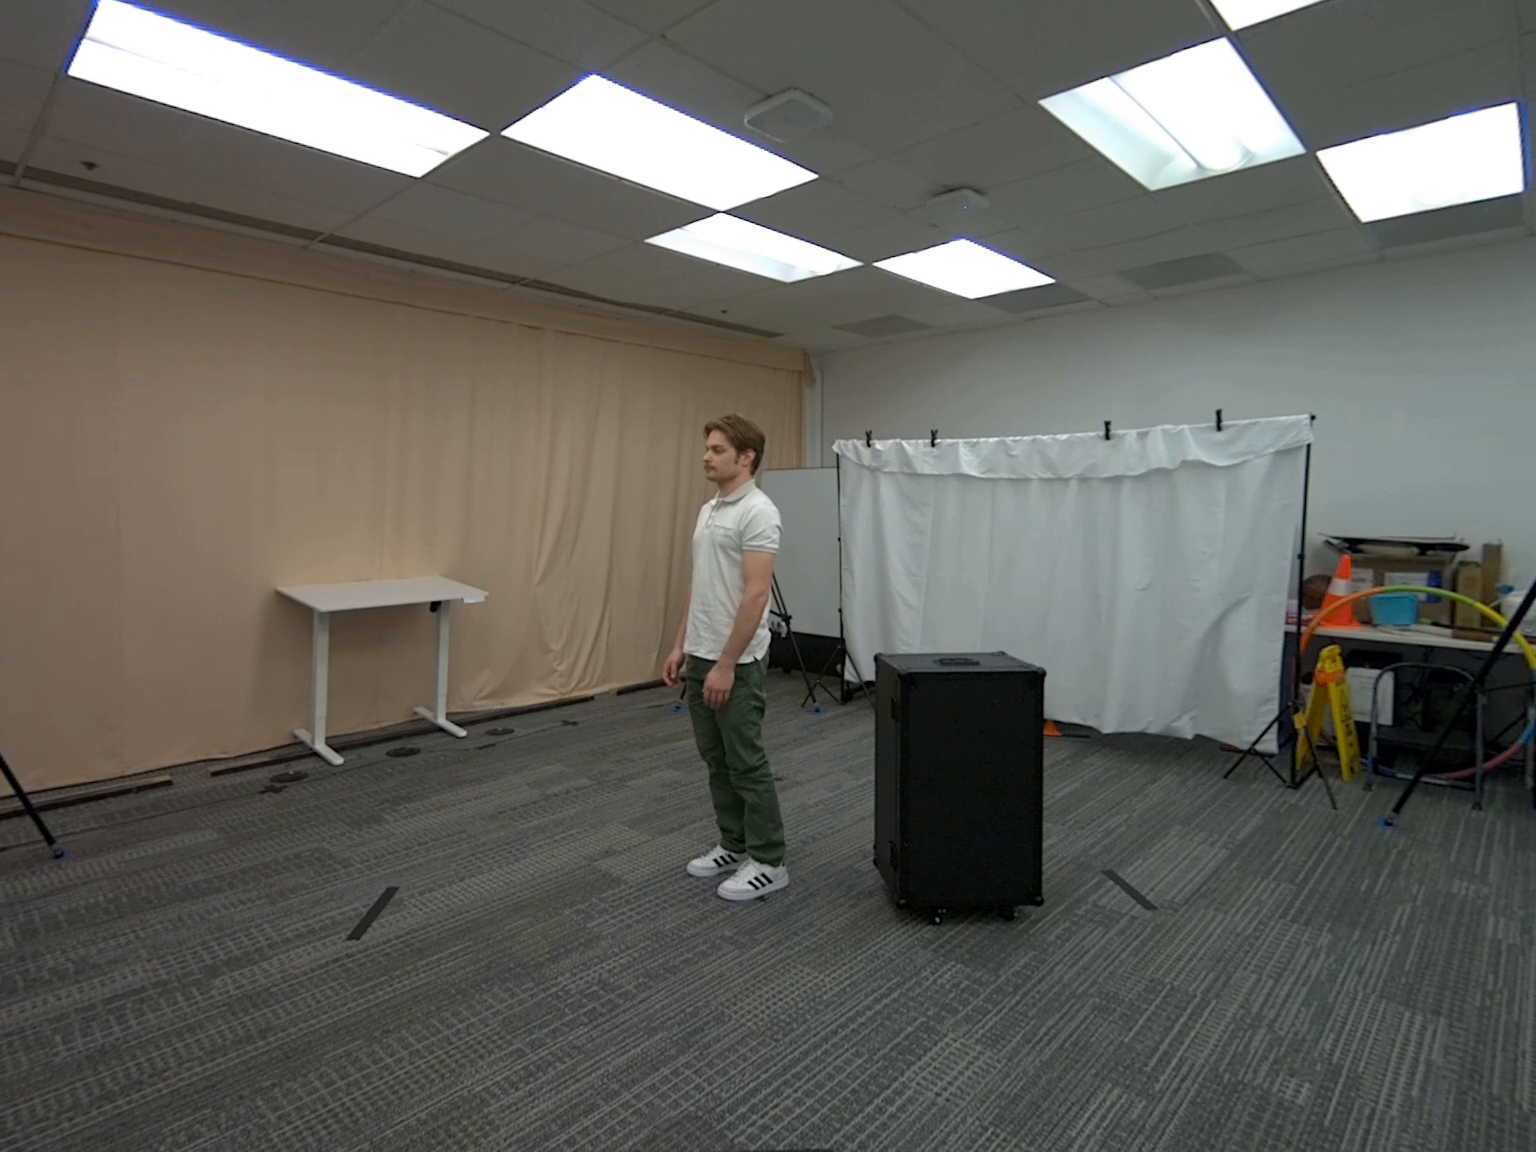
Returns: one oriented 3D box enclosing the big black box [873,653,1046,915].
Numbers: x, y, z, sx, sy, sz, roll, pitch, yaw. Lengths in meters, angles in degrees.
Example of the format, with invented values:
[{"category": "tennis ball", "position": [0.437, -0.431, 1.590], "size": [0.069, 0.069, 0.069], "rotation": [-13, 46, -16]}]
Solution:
[{"category": "big black box", "position": [0.648, 0.720, 2.931], "size": [0.520, 0.860, 0.398], "rotation": [0, 2, -3]}]
